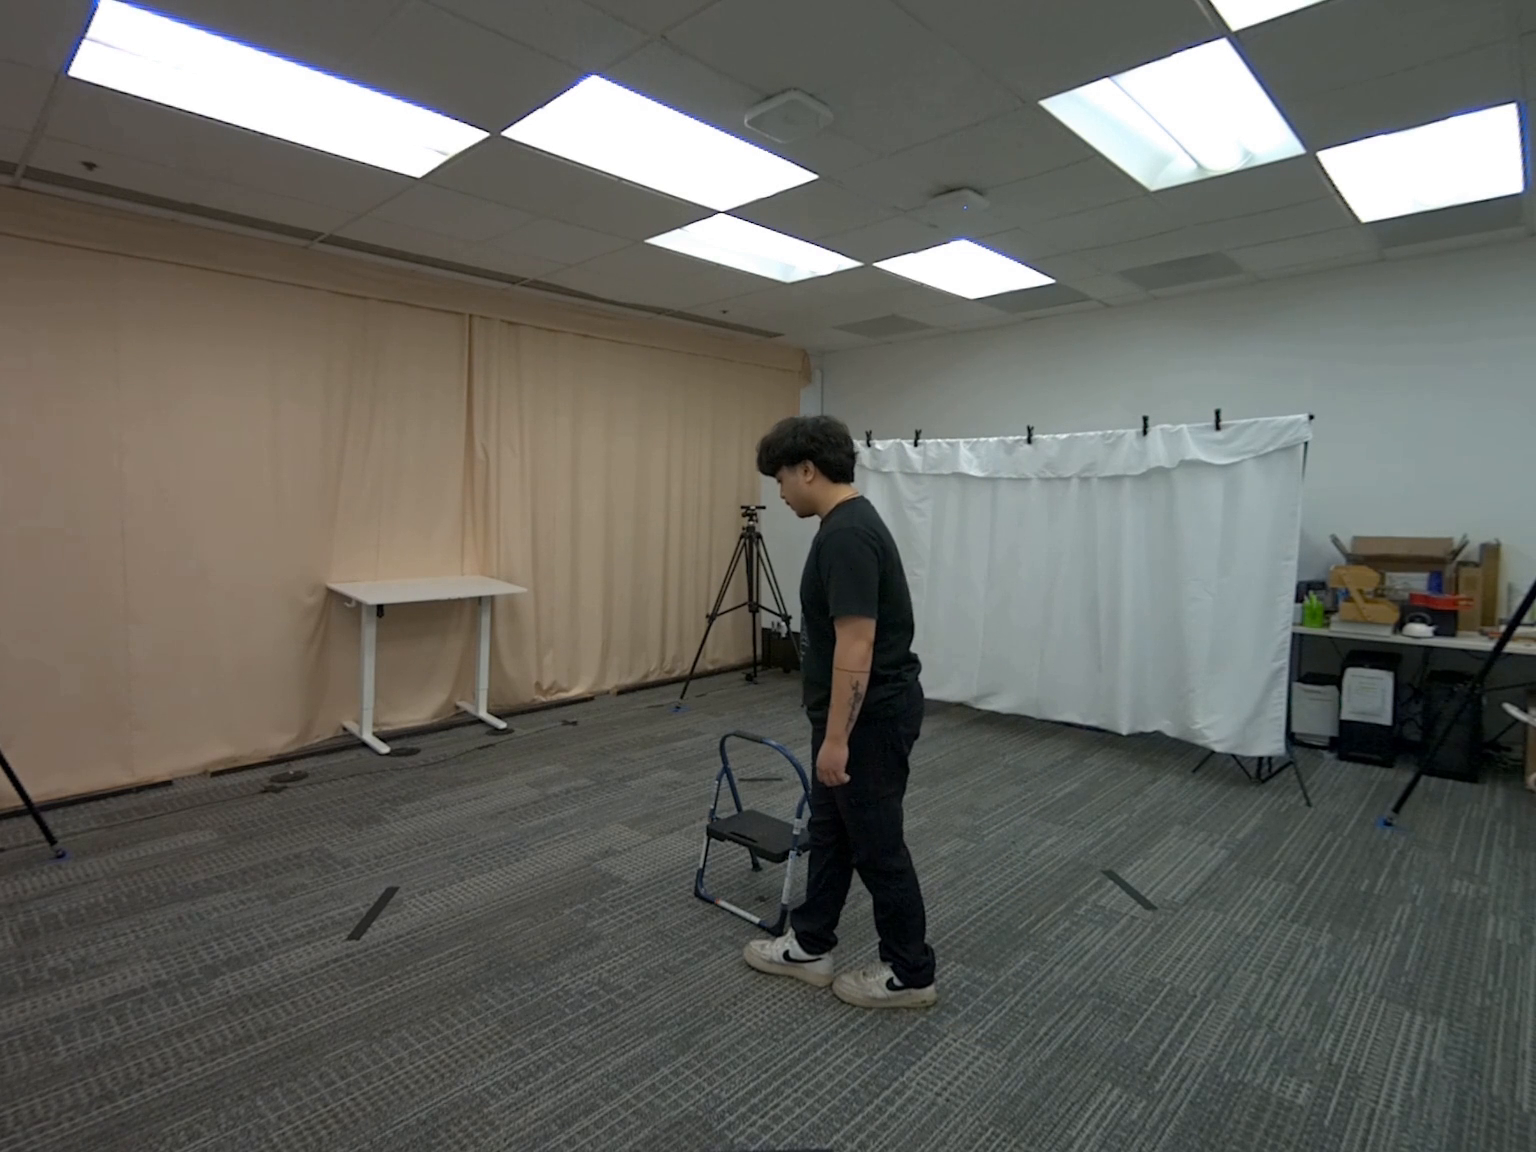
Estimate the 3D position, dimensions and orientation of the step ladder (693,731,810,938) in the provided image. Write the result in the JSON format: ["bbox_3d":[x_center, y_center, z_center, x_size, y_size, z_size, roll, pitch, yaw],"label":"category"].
[{"bbox_3d":[0.002,0.841,2.958,0.445,0.605,0.338,3,4,43],"label":"step ladder"}]
